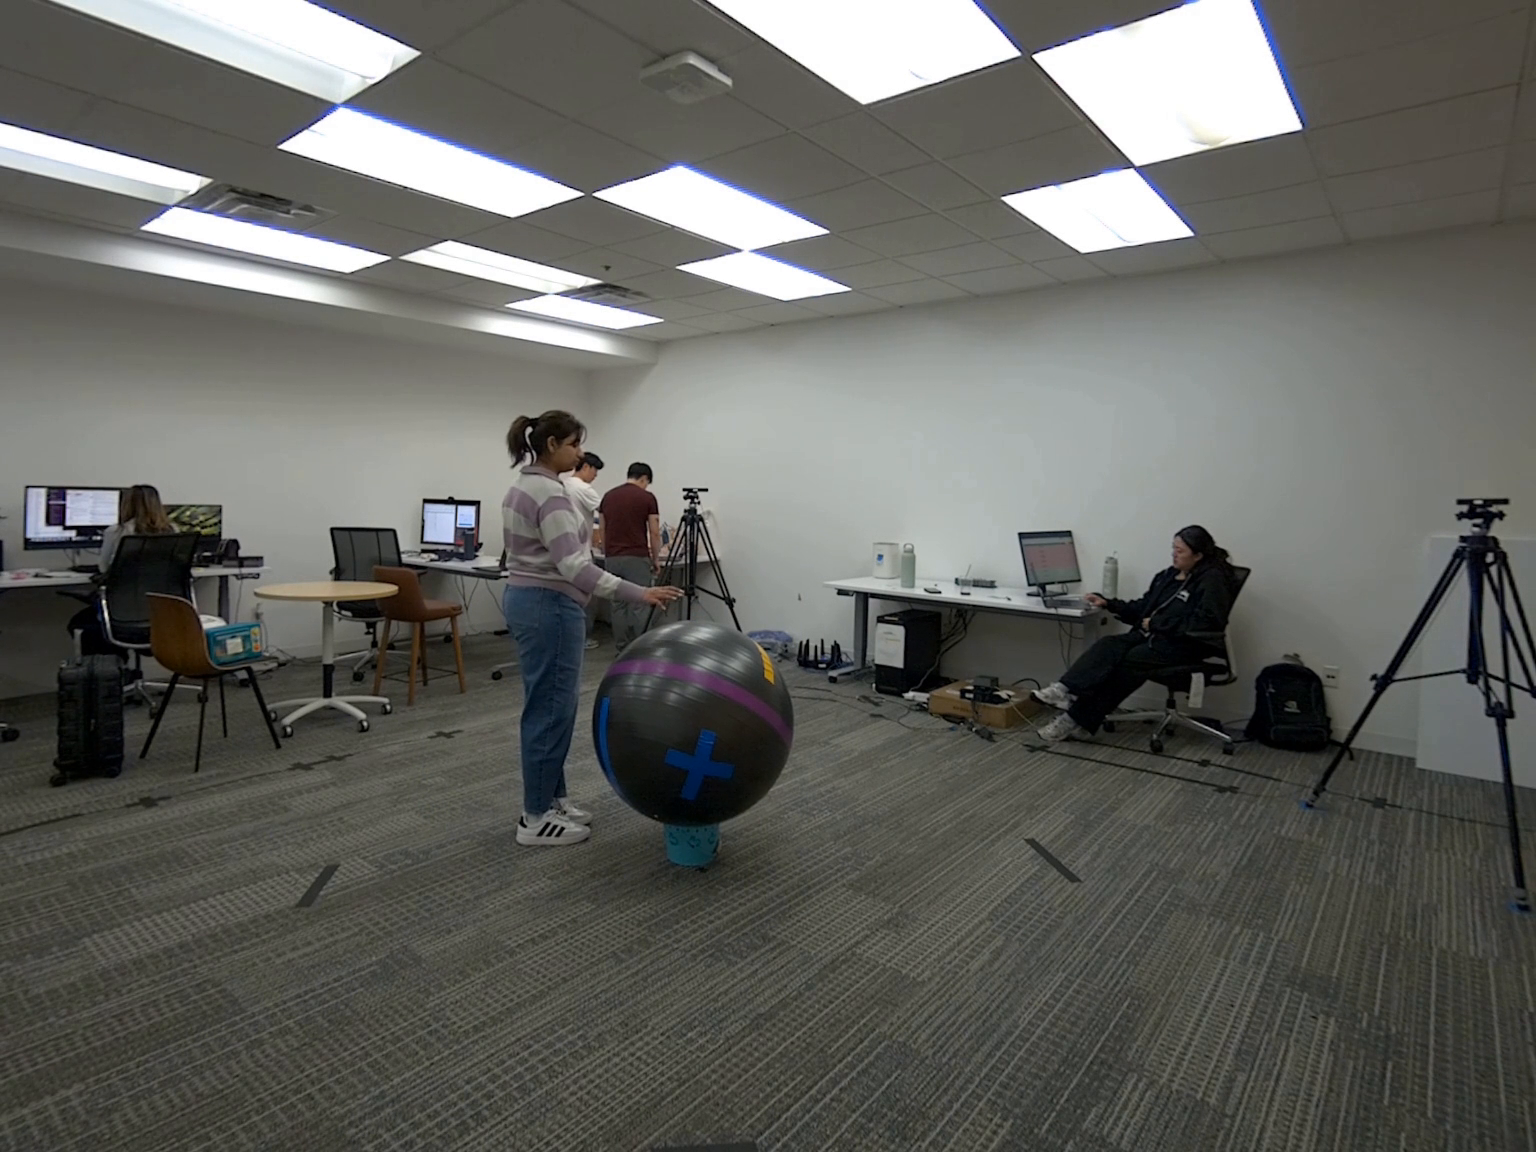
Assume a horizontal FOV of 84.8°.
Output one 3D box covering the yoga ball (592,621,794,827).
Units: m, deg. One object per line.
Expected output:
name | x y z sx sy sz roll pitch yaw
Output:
yoga ball | -0.290 0.550 3.203 0.757 0.756 0.762 1 4 -2
